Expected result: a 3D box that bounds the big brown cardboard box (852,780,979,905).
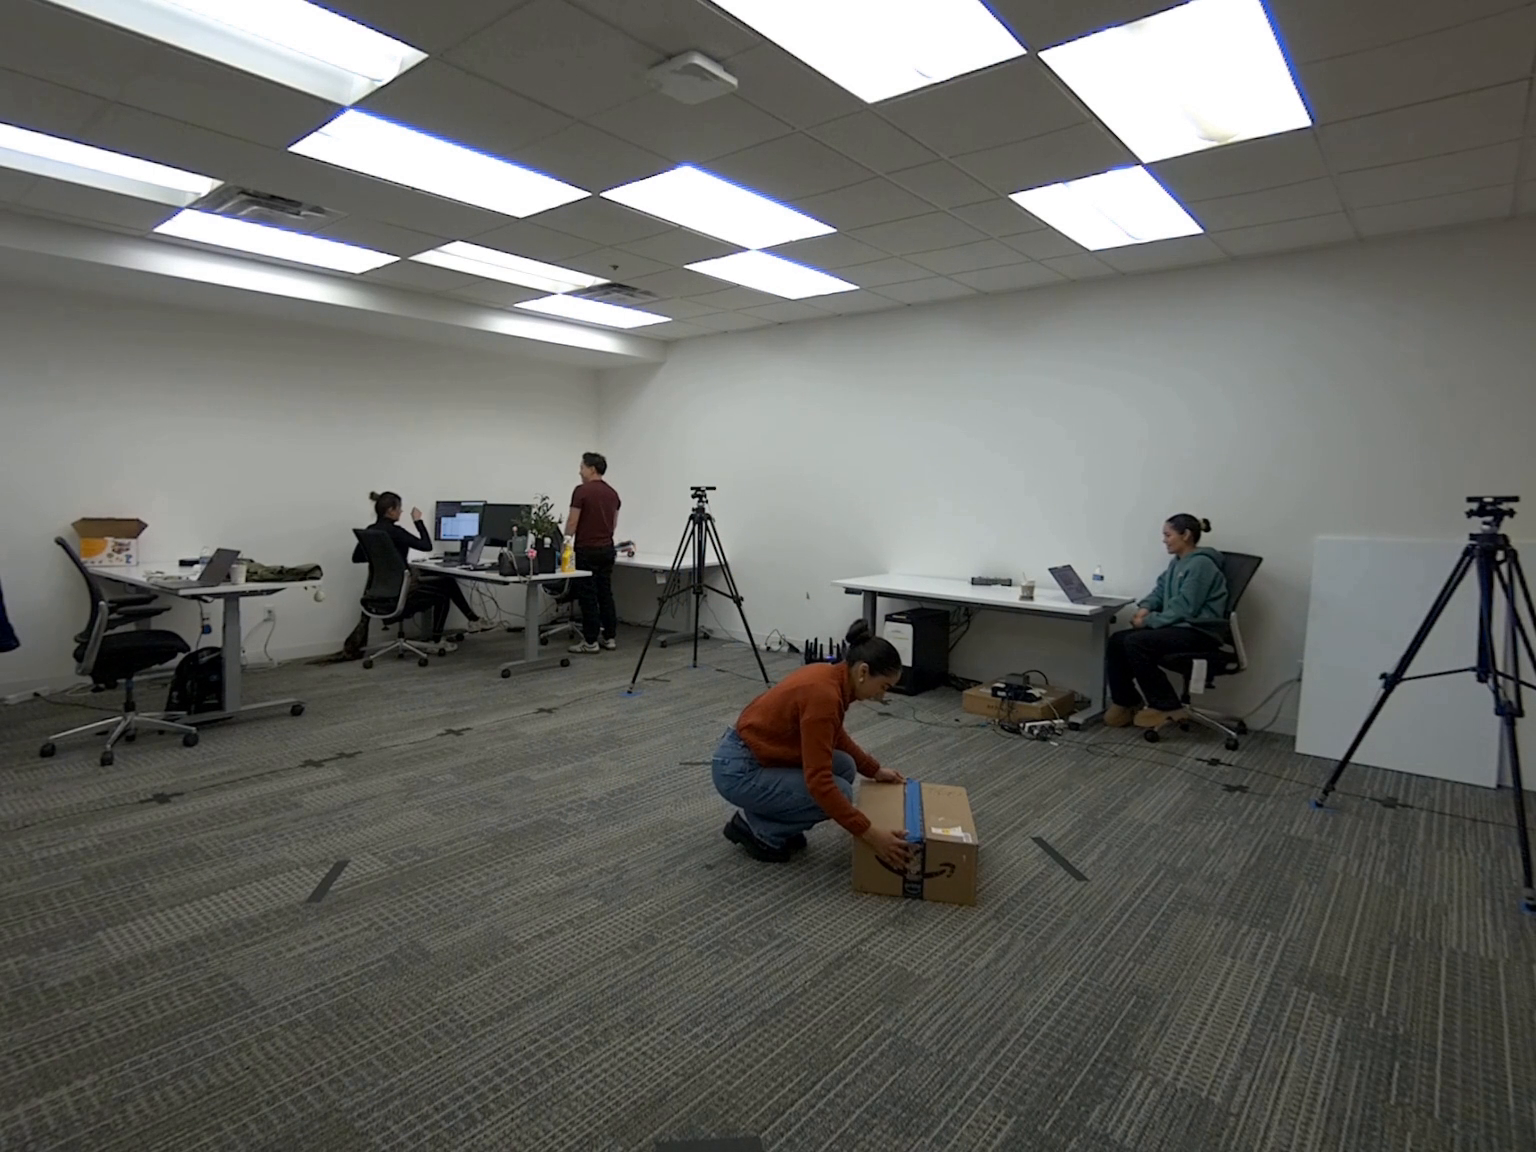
[{"bbox_3d":[0.532,0.967,3.165,0.422,0.232,0.584,2,5,9],"label":"big brown cardboard box"}]
